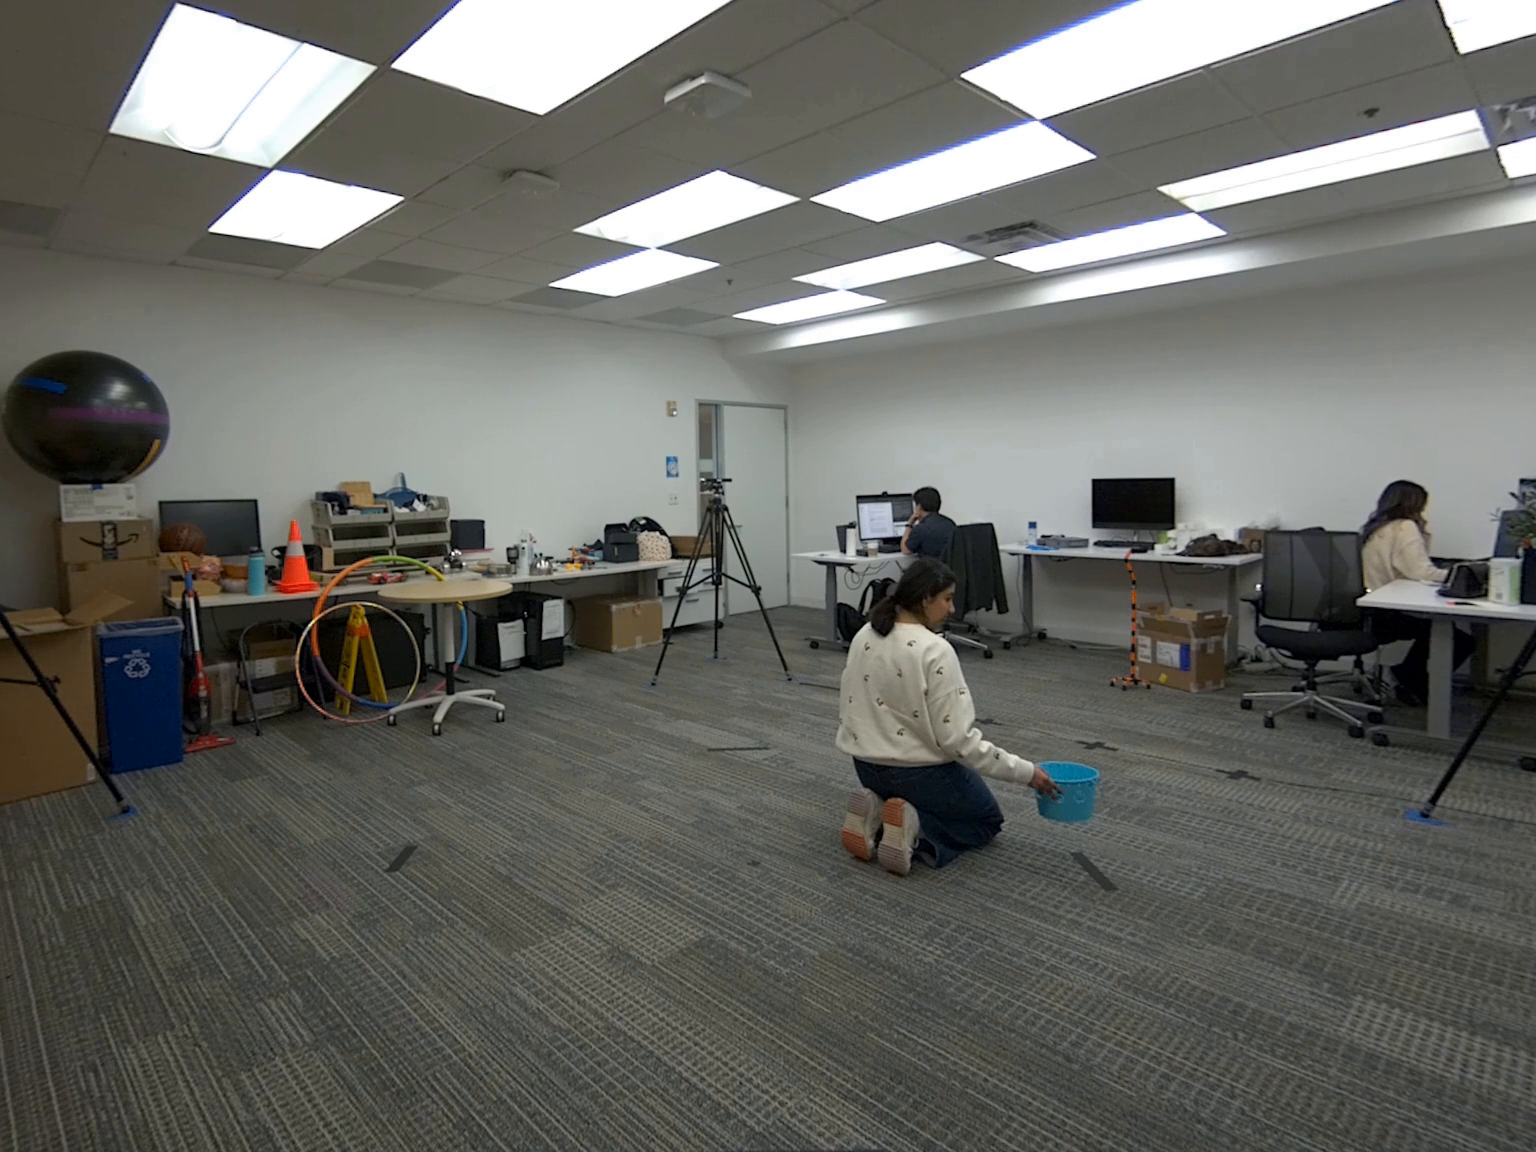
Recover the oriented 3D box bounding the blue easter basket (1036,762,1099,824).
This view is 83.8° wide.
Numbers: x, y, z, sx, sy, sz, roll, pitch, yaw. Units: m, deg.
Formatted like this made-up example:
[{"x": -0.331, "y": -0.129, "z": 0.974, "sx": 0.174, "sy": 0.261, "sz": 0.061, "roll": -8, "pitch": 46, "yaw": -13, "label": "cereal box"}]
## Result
[{"x": 1.052, "y": 0.760, "z": 3.031, "sx": 0.243, "sy": 0.155, "sz": 0.245, "roll": -3, "pitch": 5, "yaw": -1, "label": "blue easter basket"}]
